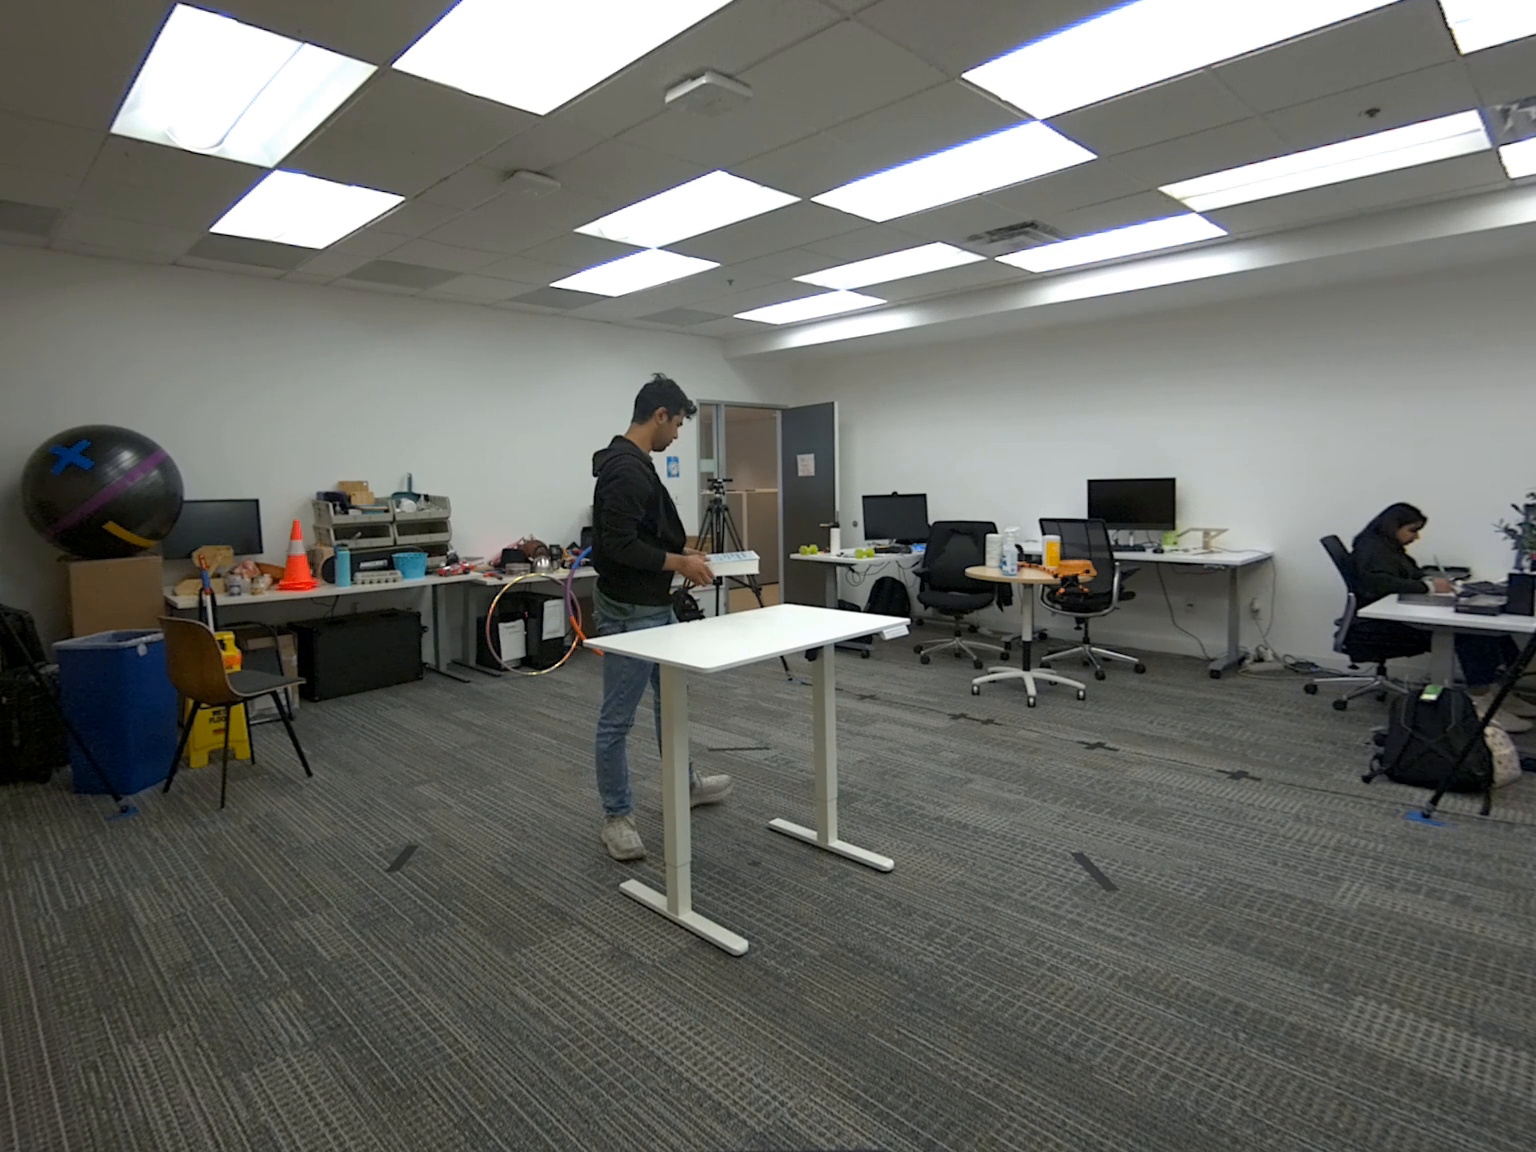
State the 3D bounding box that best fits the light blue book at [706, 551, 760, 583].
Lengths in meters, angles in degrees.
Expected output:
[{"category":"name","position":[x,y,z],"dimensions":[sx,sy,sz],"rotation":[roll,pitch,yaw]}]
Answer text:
[{"category":"light blue book","position":[-0.187,-0.045,3.365],"dimensions":[0.262,0.058,0.193],"rotation":[-3,12,3]}]
